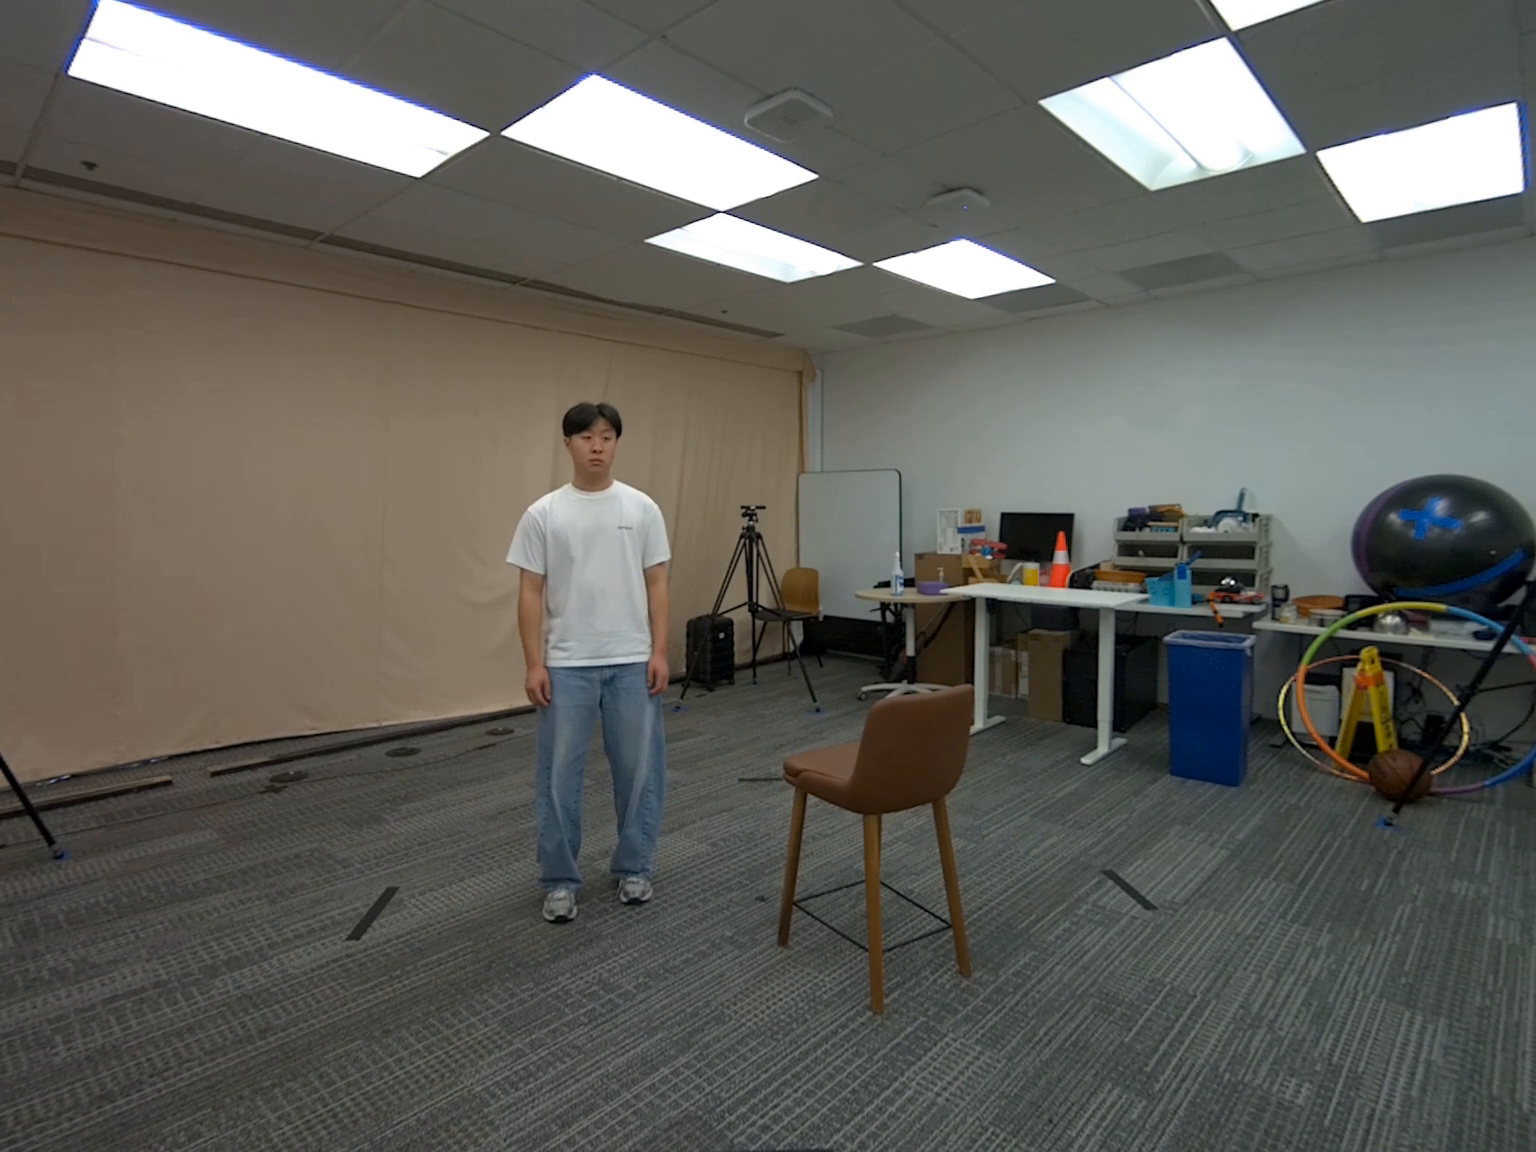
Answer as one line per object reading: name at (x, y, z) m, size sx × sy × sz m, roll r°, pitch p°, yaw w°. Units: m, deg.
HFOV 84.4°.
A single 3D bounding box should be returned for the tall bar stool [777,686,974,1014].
tall bar stool at (0.332, 0.741, 2.560) m, size 0.443 × 0.887 × 0.482 m, roll -2°, pitch 6°, yaw -34°
